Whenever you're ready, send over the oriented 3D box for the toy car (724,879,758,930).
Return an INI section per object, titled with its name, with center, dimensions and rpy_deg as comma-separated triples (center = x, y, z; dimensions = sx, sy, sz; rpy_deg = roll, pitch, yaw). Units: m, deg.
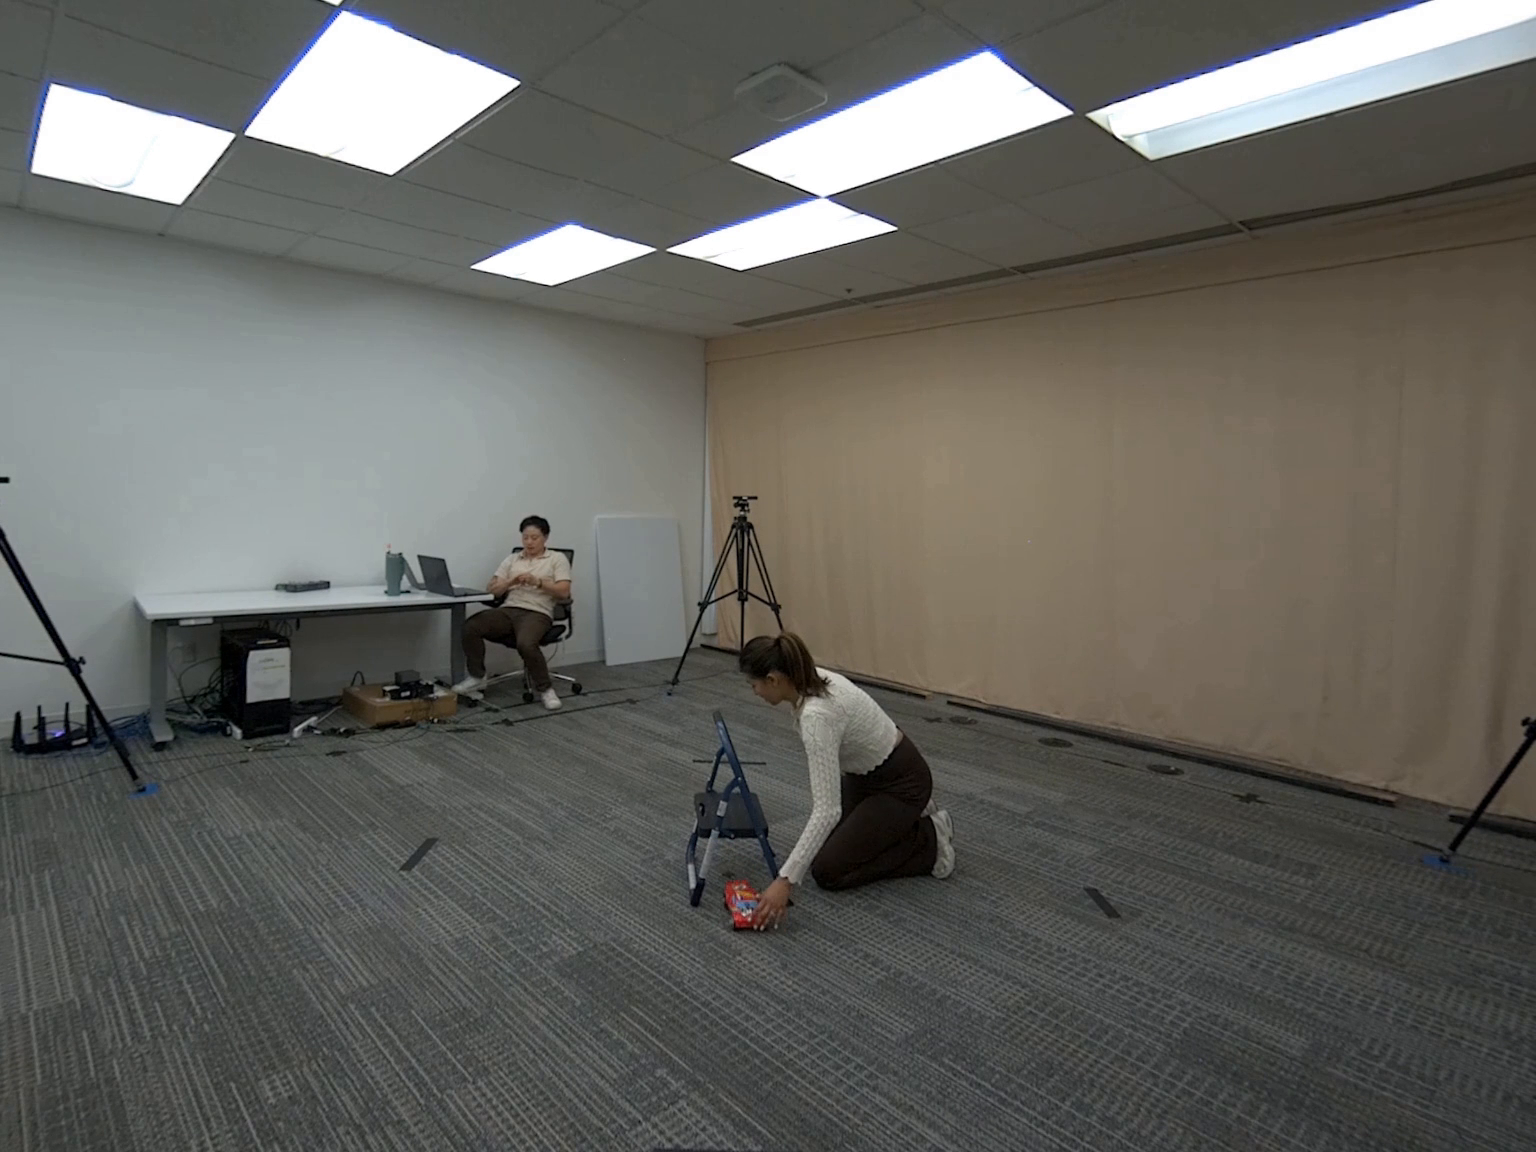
[toy car]
center = -0.092, 1.104, 2.816
dimensions = 0.129, 0.082, 0.259
rpy_deg = 1, 17, -11
